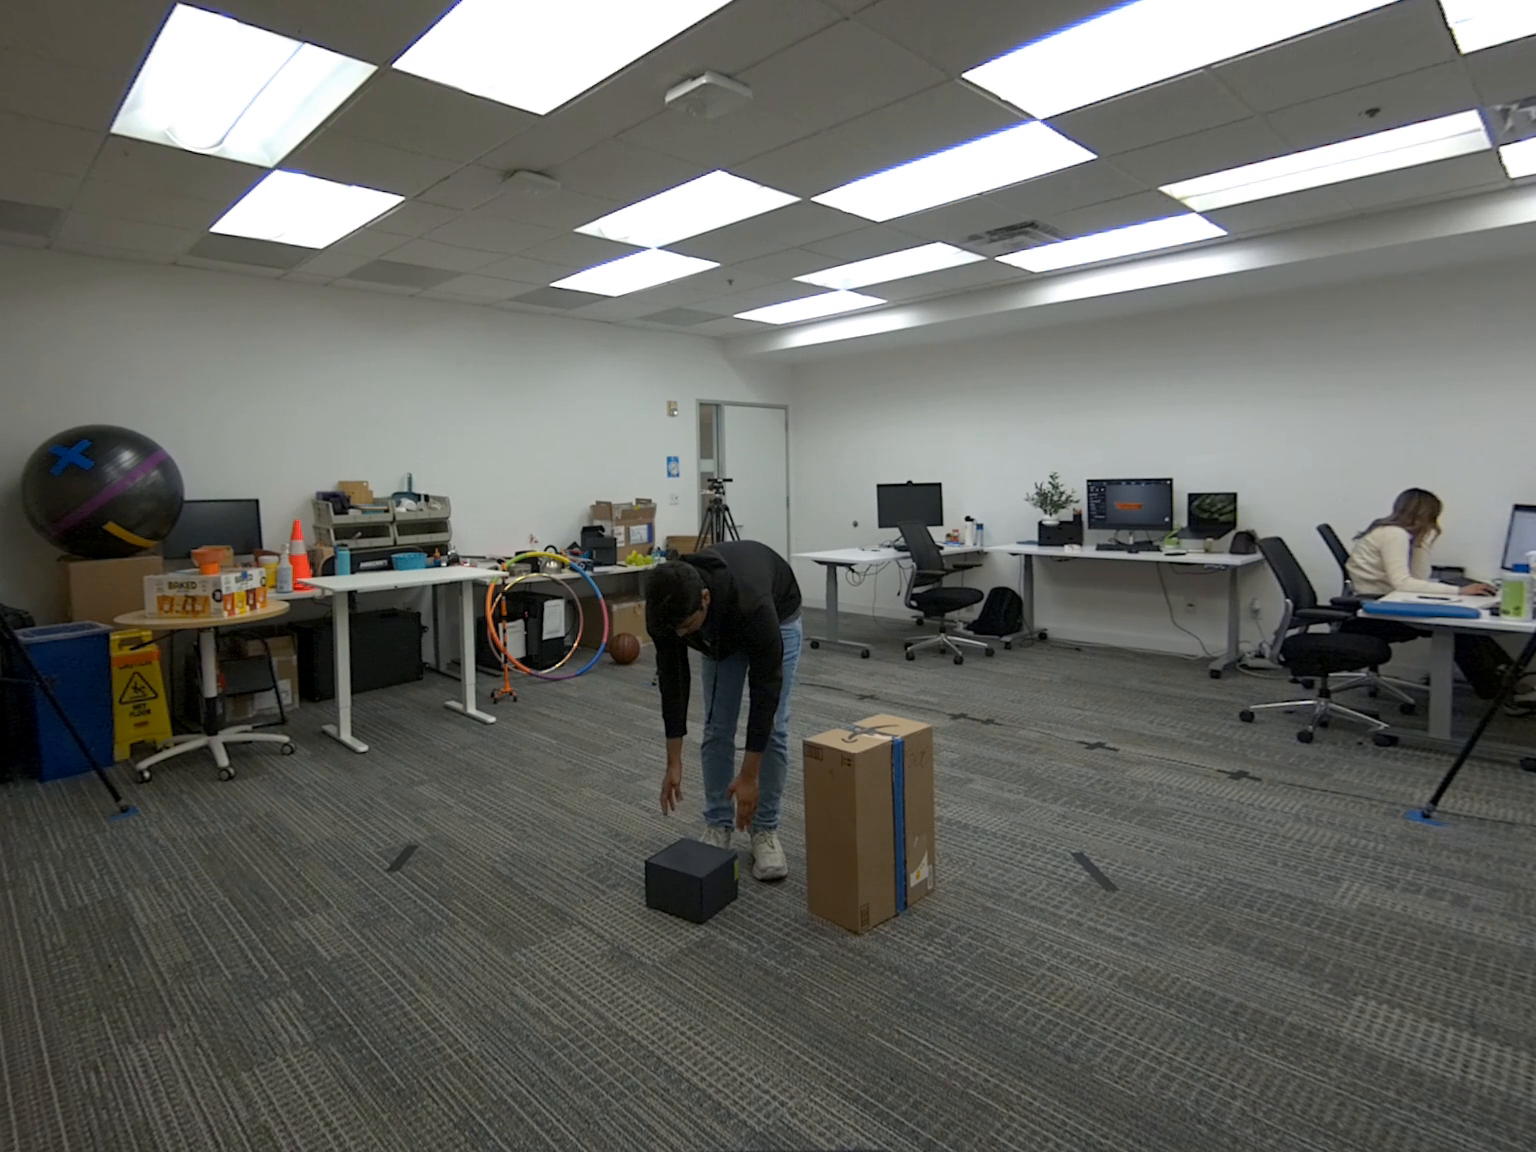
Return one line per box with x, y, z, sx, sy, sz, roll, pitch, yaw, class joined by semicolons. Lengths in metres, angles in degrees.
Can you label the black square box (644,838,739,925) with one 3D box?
-0.245;0.996;2.822;0.234;0.155;0.212;2;7;32;black square box
